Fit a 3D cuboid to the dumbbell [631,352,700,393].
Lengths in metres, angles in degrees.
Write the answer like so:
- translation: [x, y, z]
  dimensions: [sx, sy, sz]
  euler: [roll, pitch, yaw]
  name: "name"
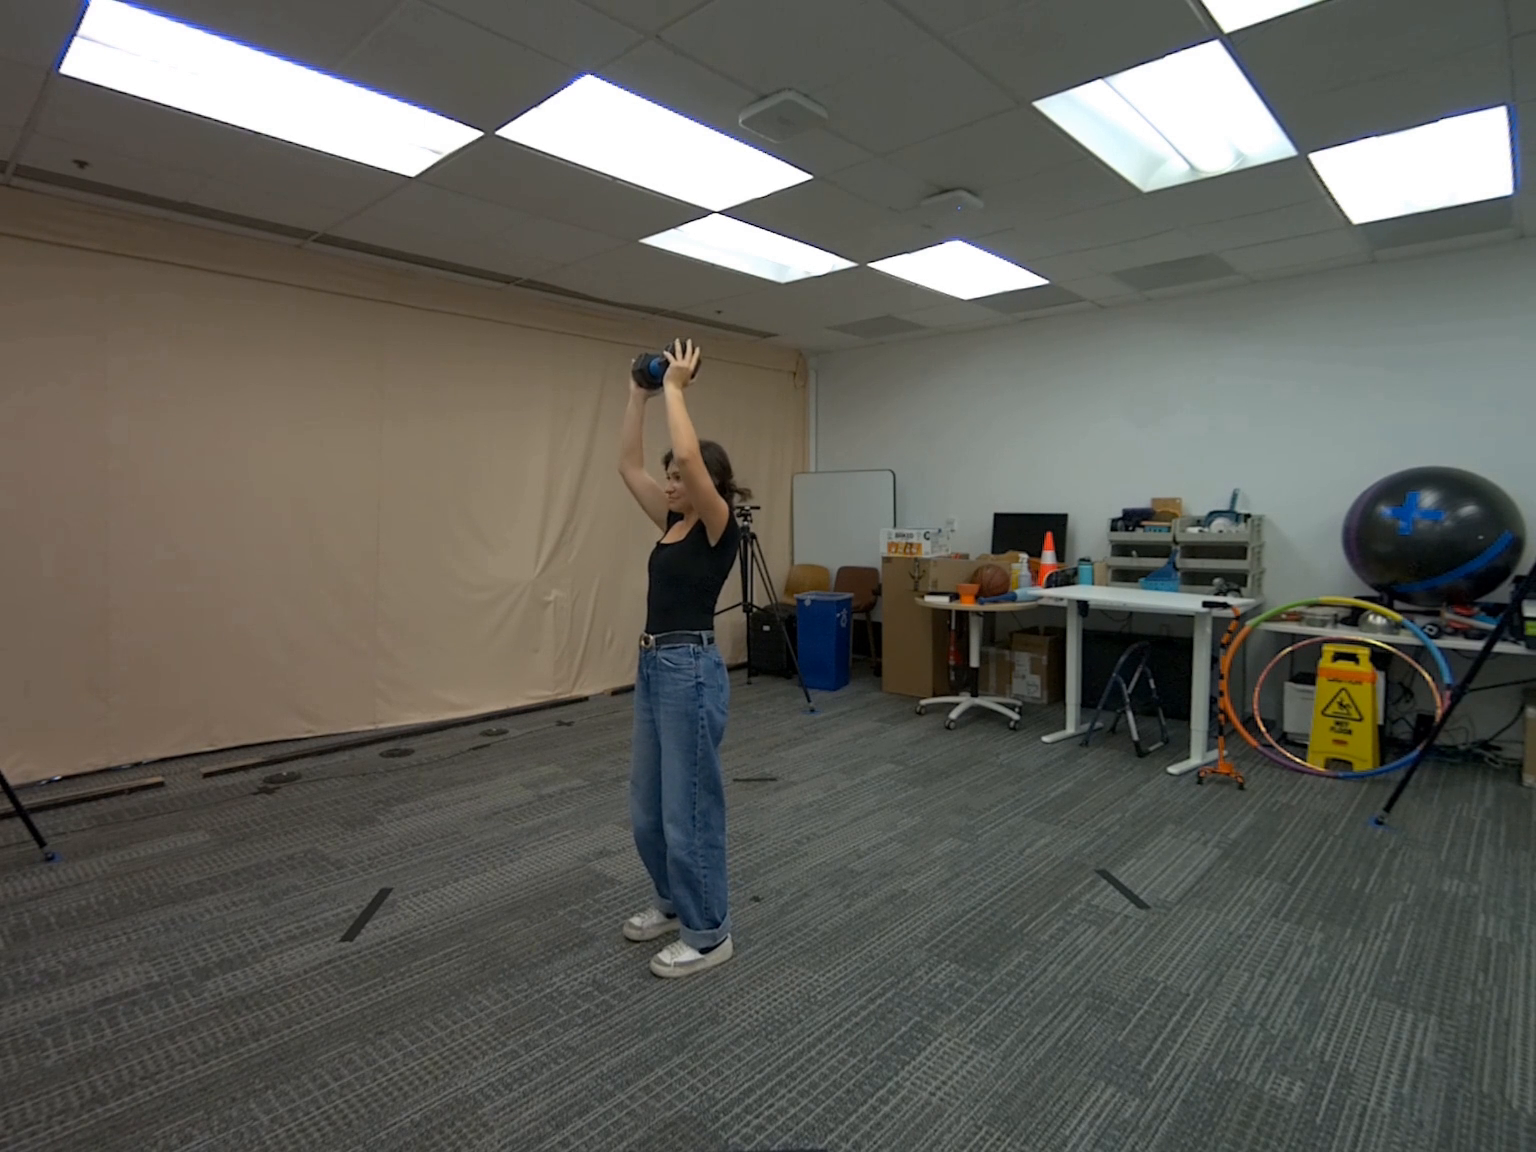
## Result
- translation: [-0.315, -0.645, 2.606]
  dimensions: [0.108, 0.120, 0.302]
  euler: [-42, 23, -22]
  name: "dumbbell"
